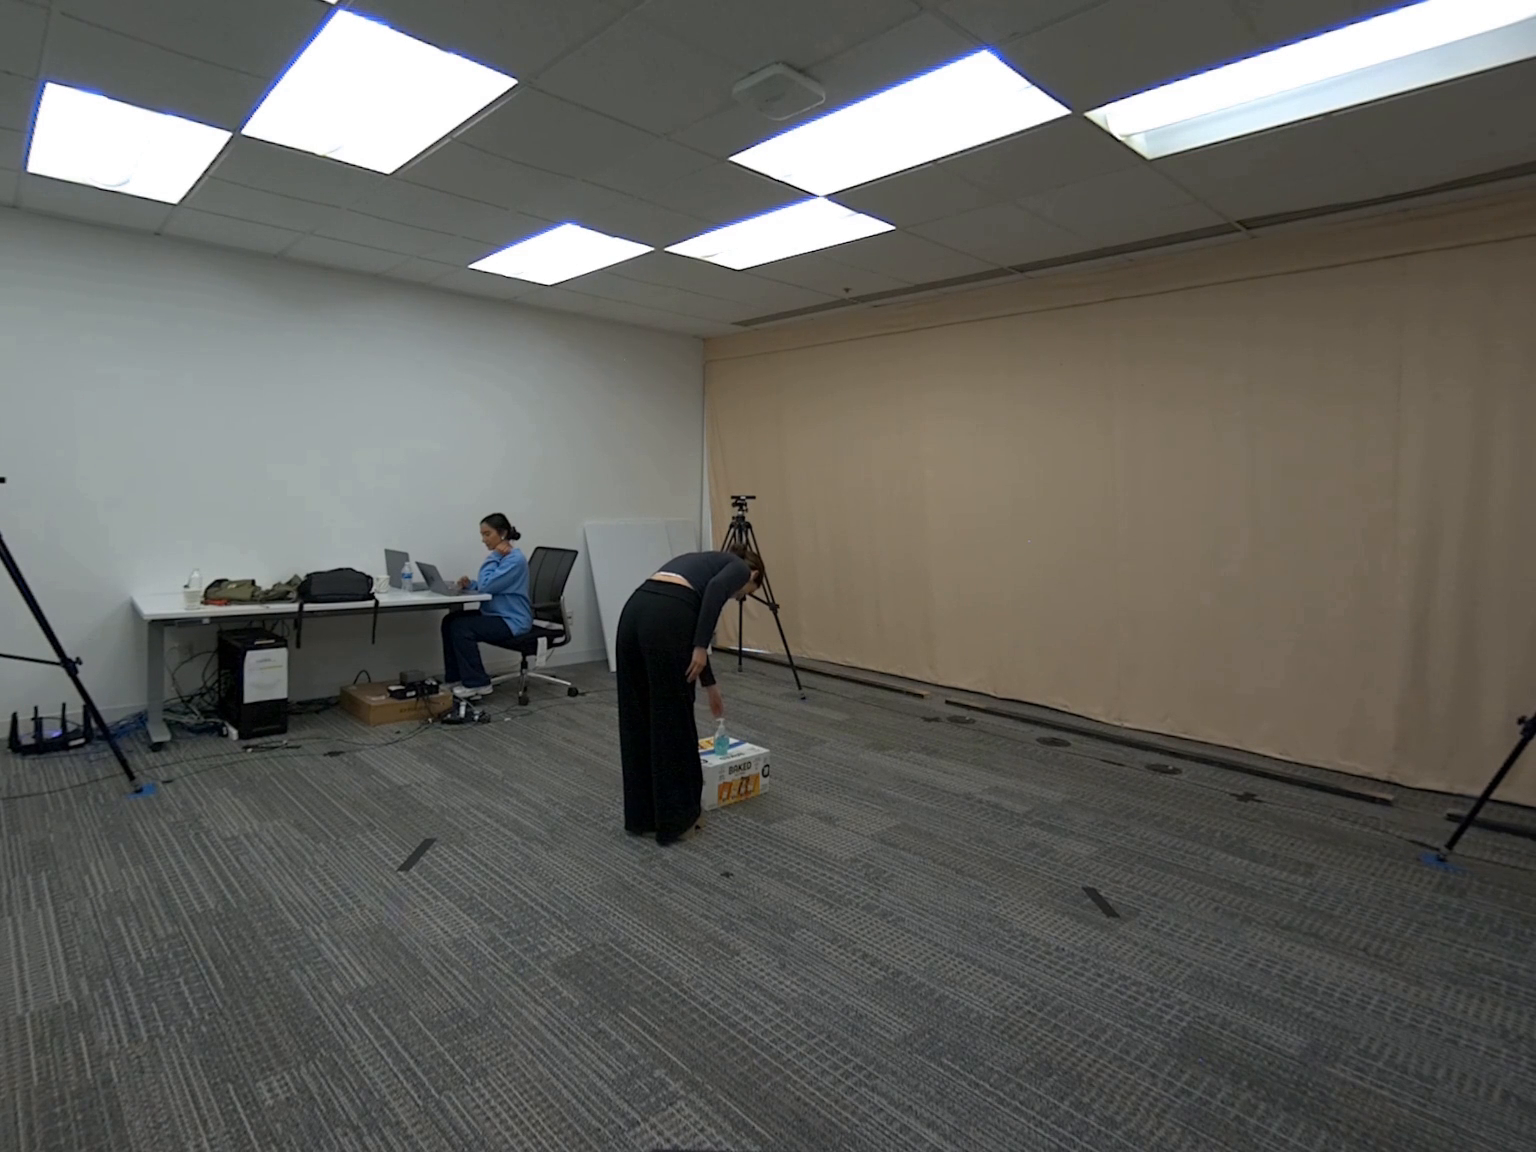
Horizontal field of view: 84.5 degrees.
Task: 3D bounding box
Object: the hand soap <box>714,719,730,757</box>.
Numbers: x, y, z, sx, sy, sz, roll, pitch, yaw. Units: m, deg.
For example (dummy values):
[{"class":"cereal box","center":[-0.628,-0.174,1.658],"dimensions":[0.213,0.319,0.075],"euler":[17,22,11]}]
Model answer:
[{"class":"hand soap","center":[-0.221,0.748,3.931],"dimensions":[0.082,0.168,0.044],"euler":[1,-2,-38]}]
